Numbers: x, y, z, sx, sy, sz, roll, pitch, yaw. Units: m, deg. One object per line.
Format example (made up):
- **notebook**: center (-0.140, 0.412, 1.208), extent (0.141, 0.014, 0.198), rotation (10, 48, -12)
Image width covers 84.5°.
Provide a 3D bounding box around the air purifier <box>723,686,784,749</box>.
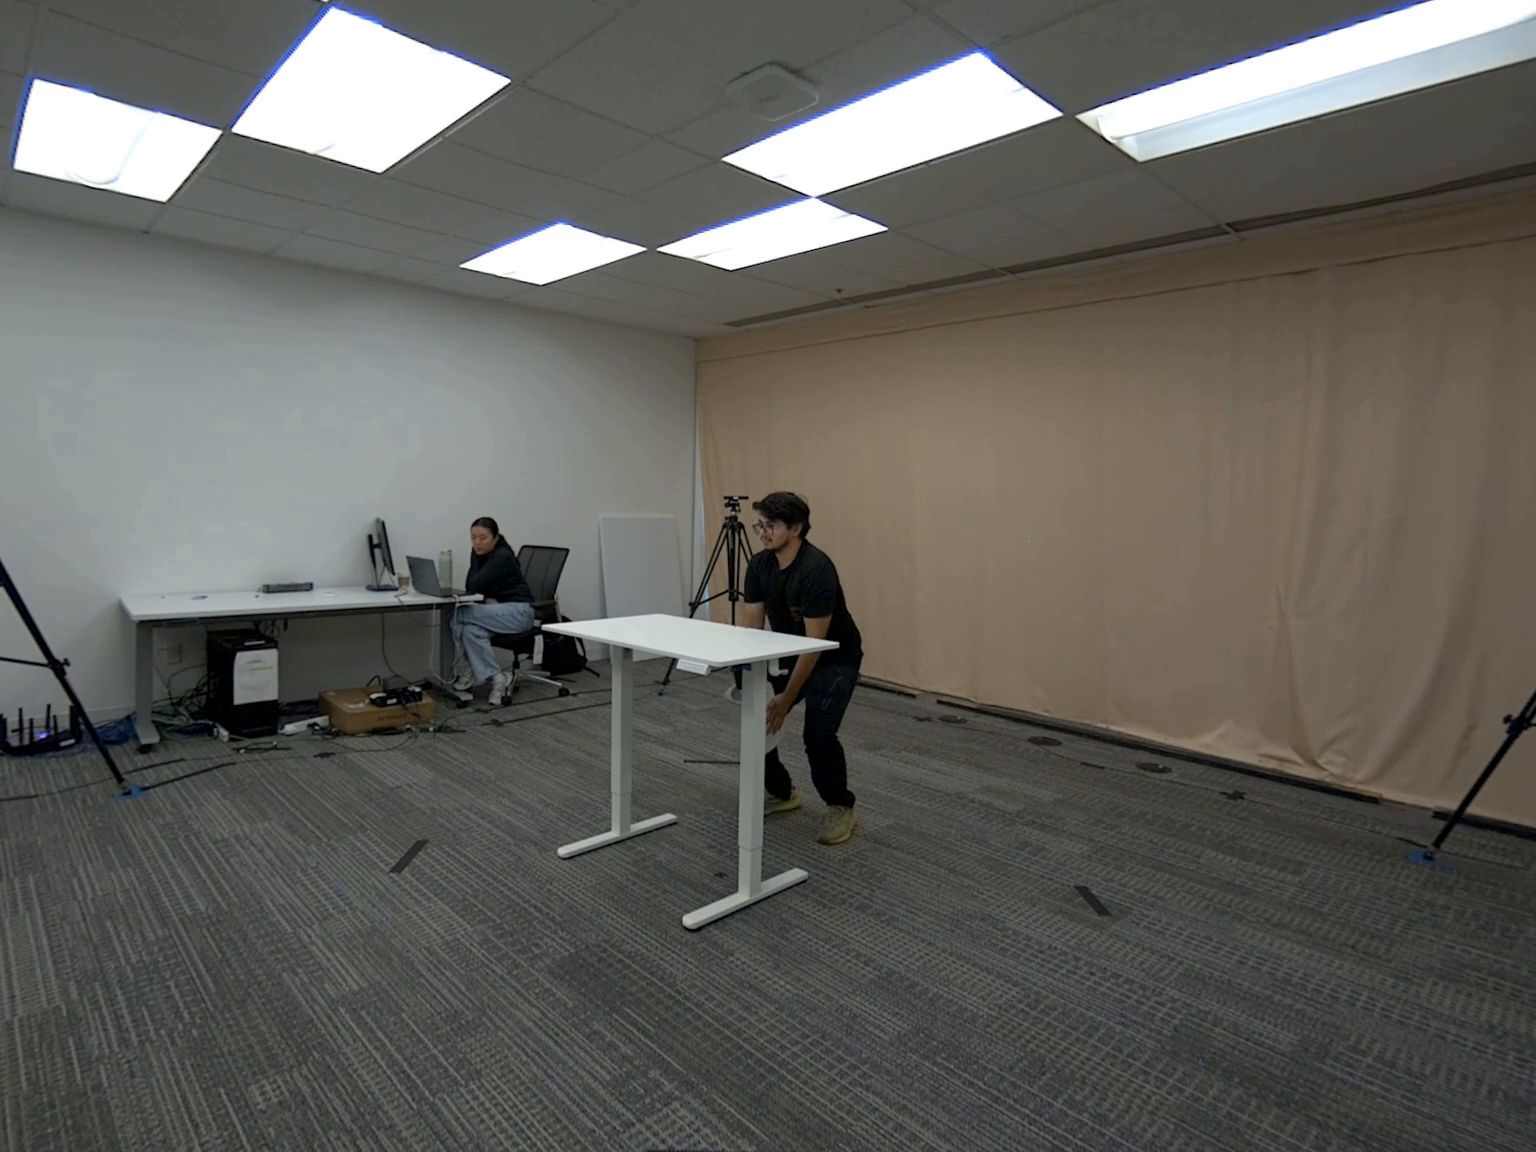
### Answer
- **air purifier**: center (-0.061, 0.576, 3.408), extent (0.175, 0.260, 0.170), rotation (7, 30, 41)
